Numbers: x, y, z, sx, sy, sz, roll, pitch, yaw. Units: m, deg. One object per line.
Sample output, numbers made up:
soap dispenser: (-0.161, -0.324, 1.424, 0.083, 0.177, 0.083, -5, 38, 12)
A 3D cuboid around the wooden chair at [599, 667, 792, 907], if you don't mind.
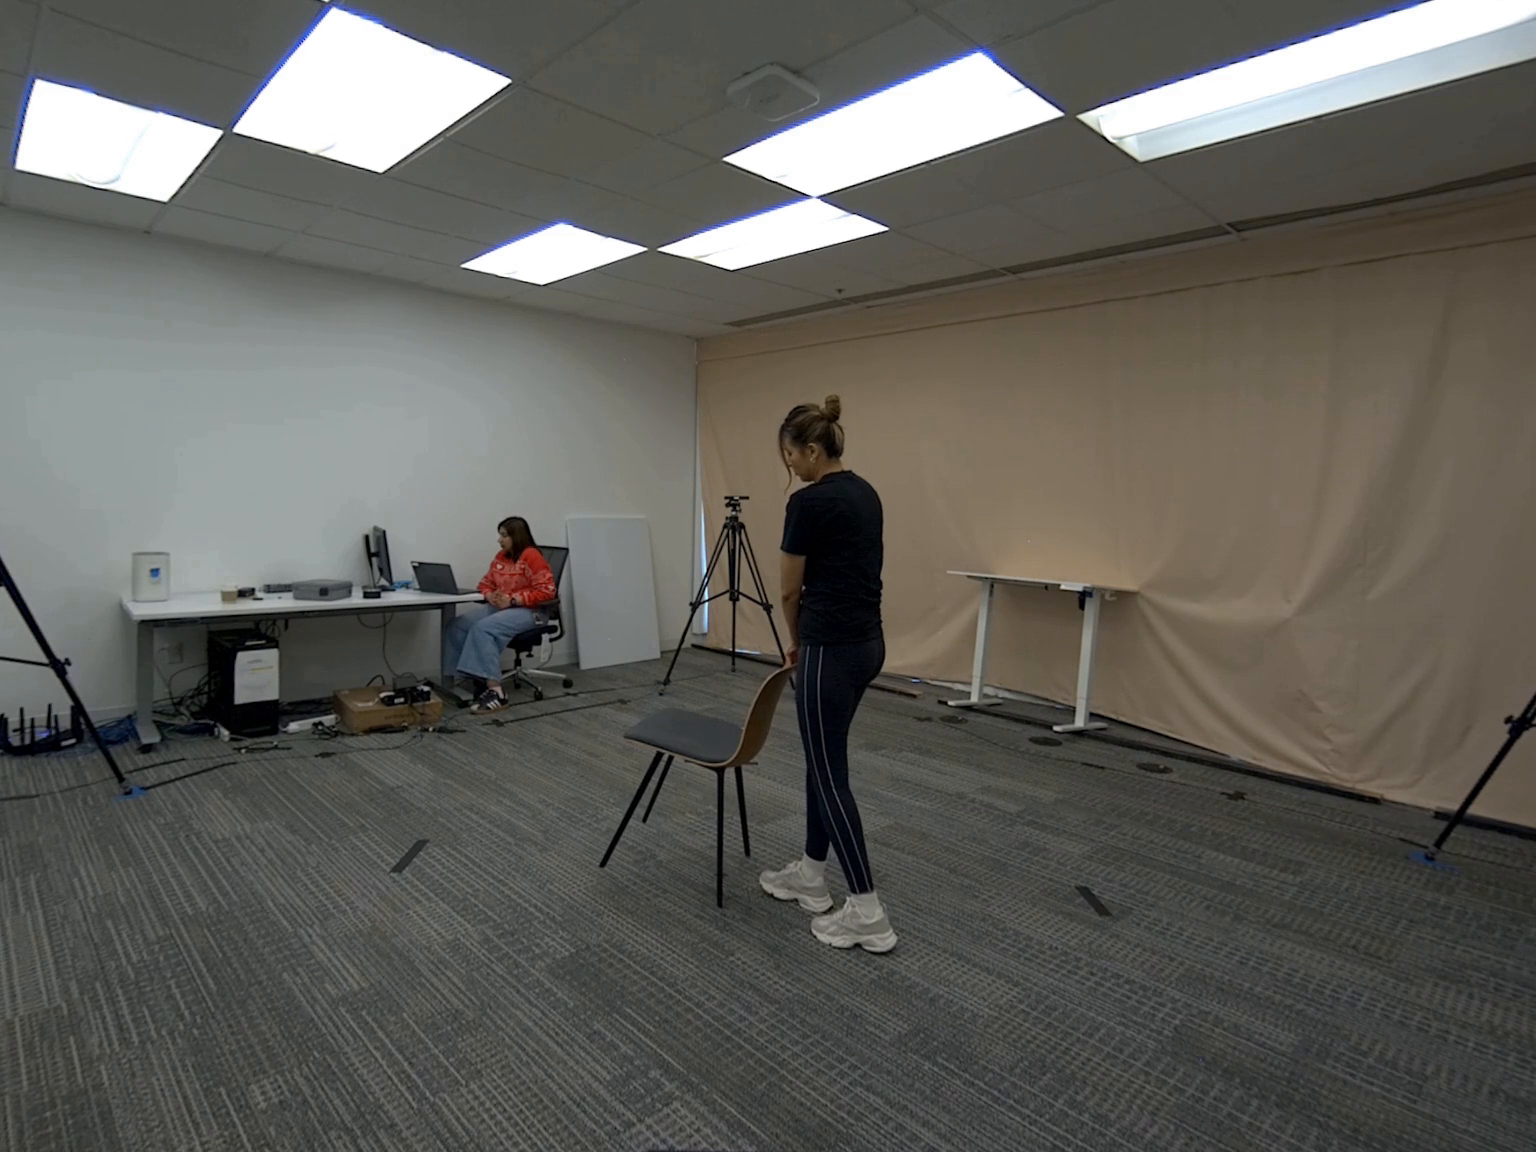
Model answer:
wooden chair: (-0.256, 0.645, 3.067, 0.529, 0.874, 0.474, 17, 7, 11)
